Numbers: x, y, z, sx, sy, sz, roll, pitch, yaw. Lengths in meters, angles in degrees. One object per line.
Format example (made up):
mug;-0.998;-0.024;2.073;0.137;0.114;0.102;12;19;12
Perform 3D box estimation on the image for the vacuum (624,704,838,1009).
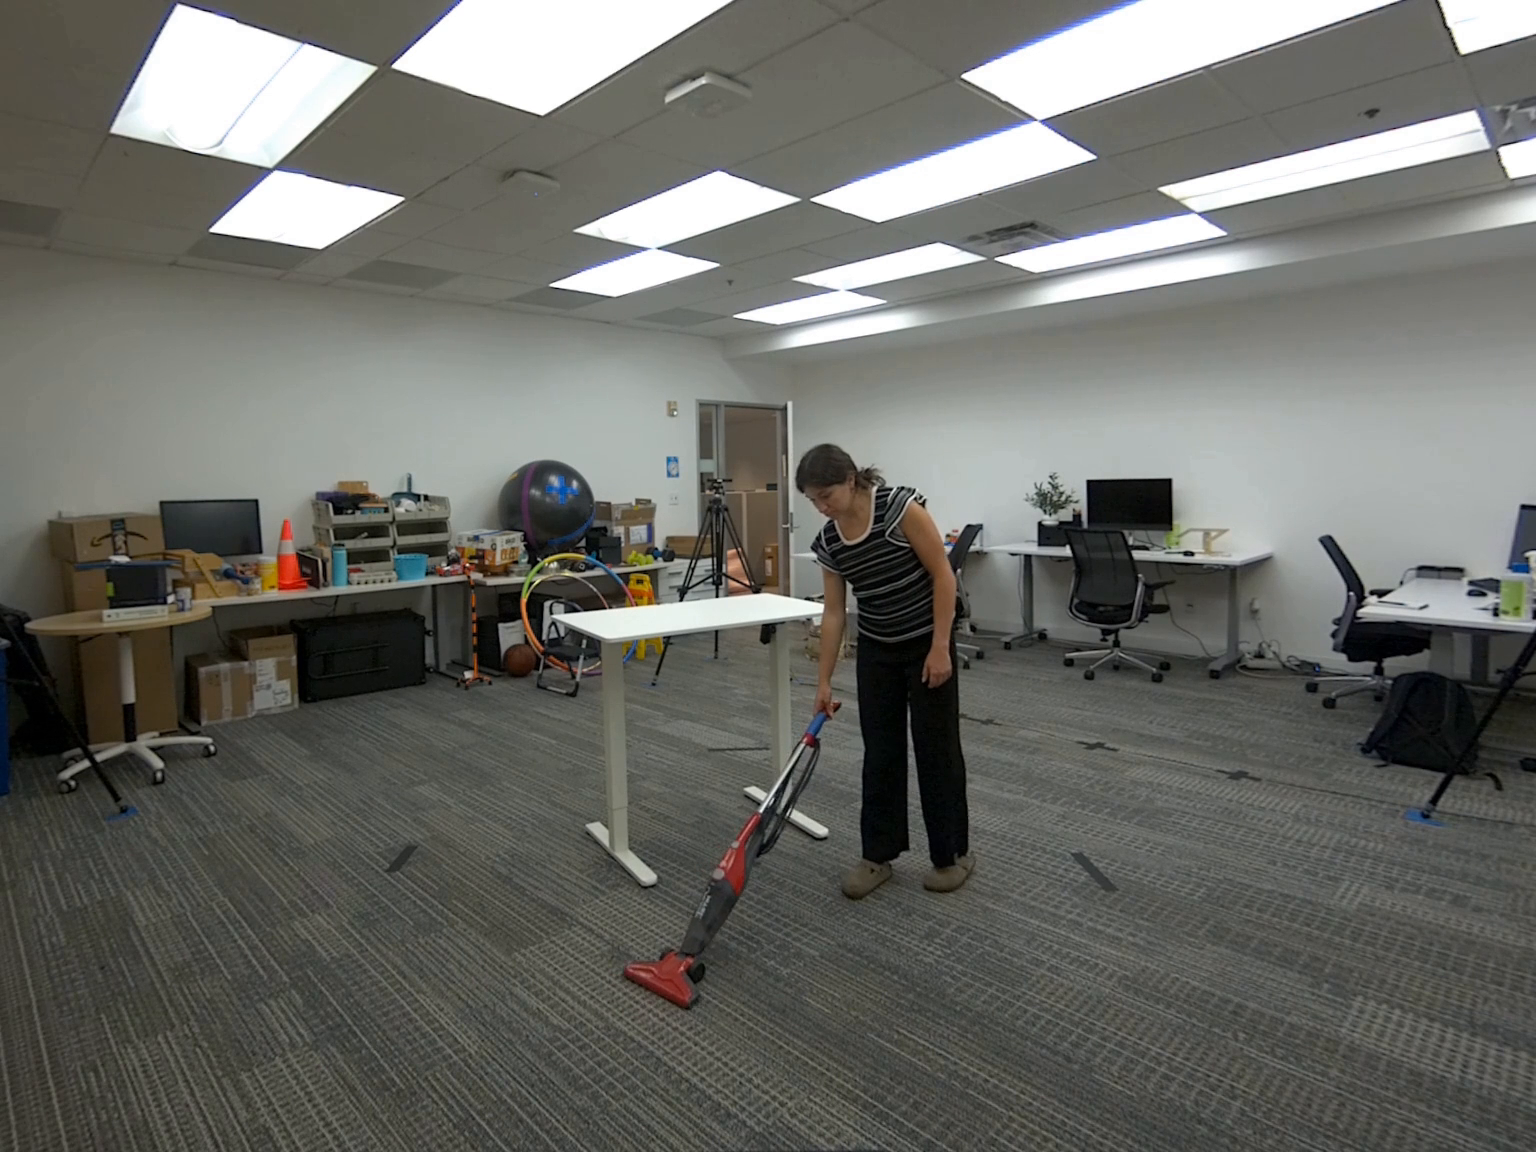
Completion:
vacuum;-0.015;0.803;2.683;0.260;0.139;1.051;3;40;38
